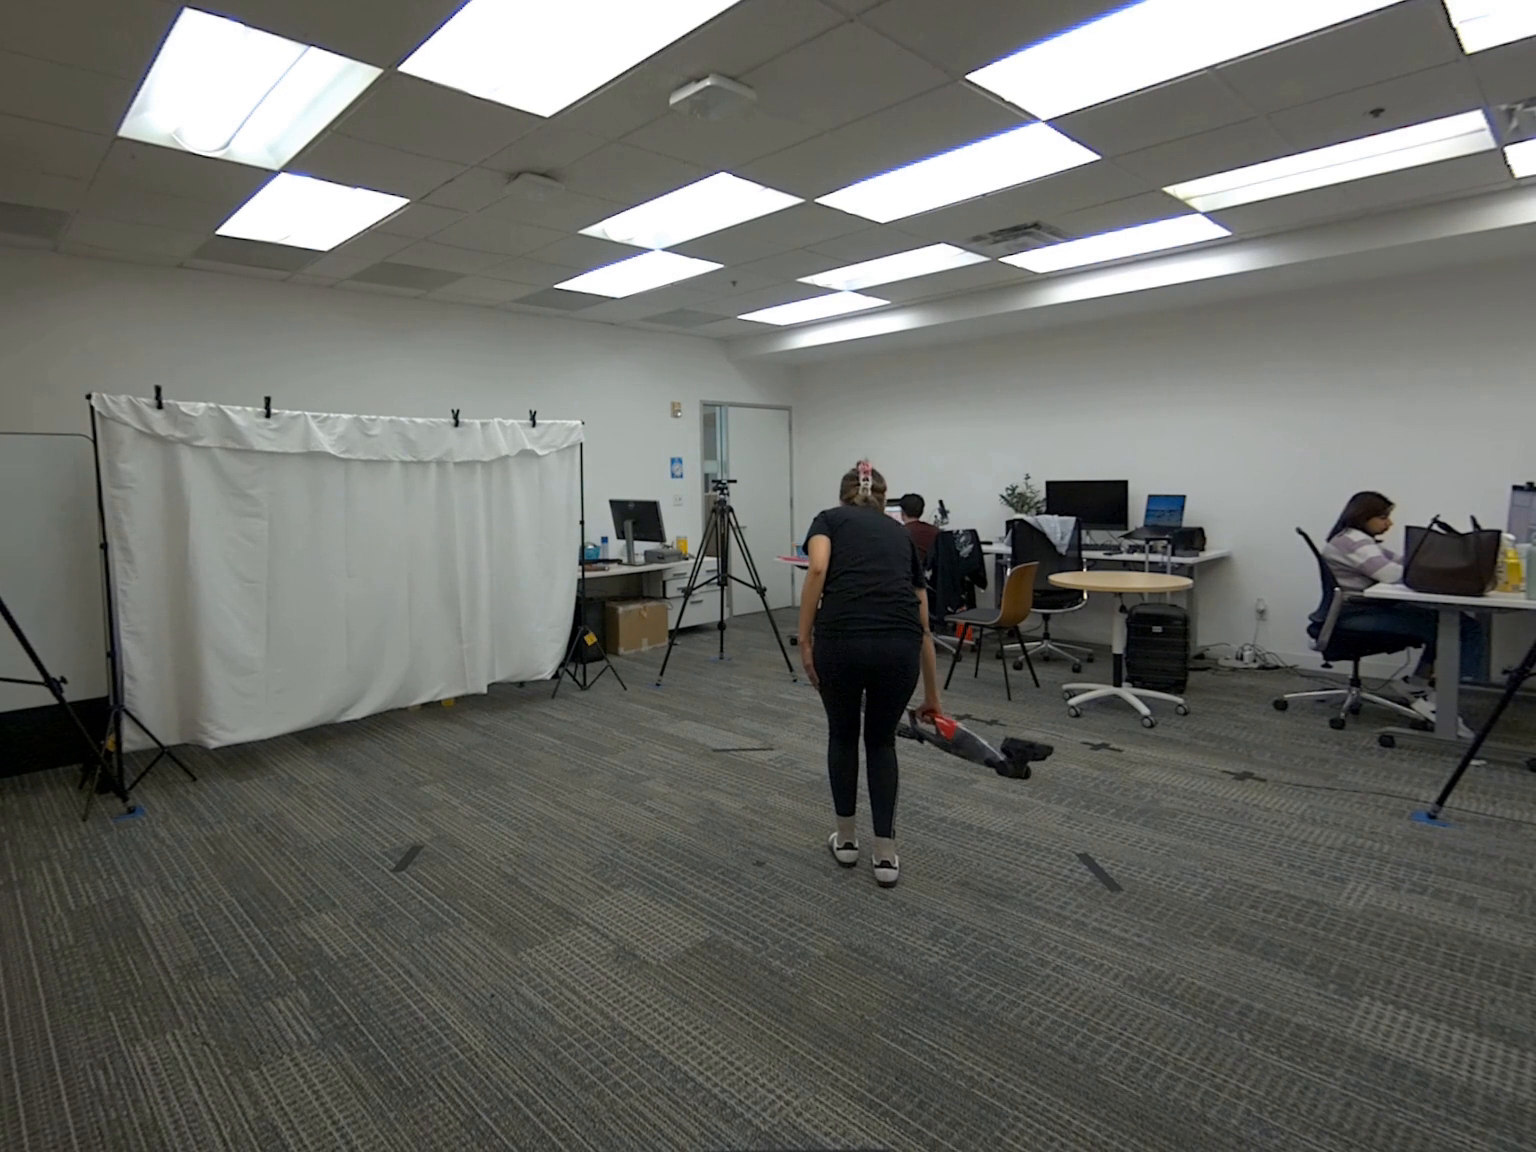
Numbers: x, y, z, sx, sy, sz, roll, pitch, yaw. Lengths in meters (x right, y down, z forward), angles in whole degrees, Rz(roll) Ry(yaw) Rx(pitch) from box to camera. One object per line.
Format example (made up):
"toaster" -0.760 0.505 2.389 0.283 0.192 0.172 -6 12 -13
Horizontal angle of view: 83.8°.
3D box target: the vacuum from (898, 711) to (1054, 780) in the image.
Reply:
"vacuum" 0.547 0.567 3.288 0.244 0.144 1.080 19 -5 -33
